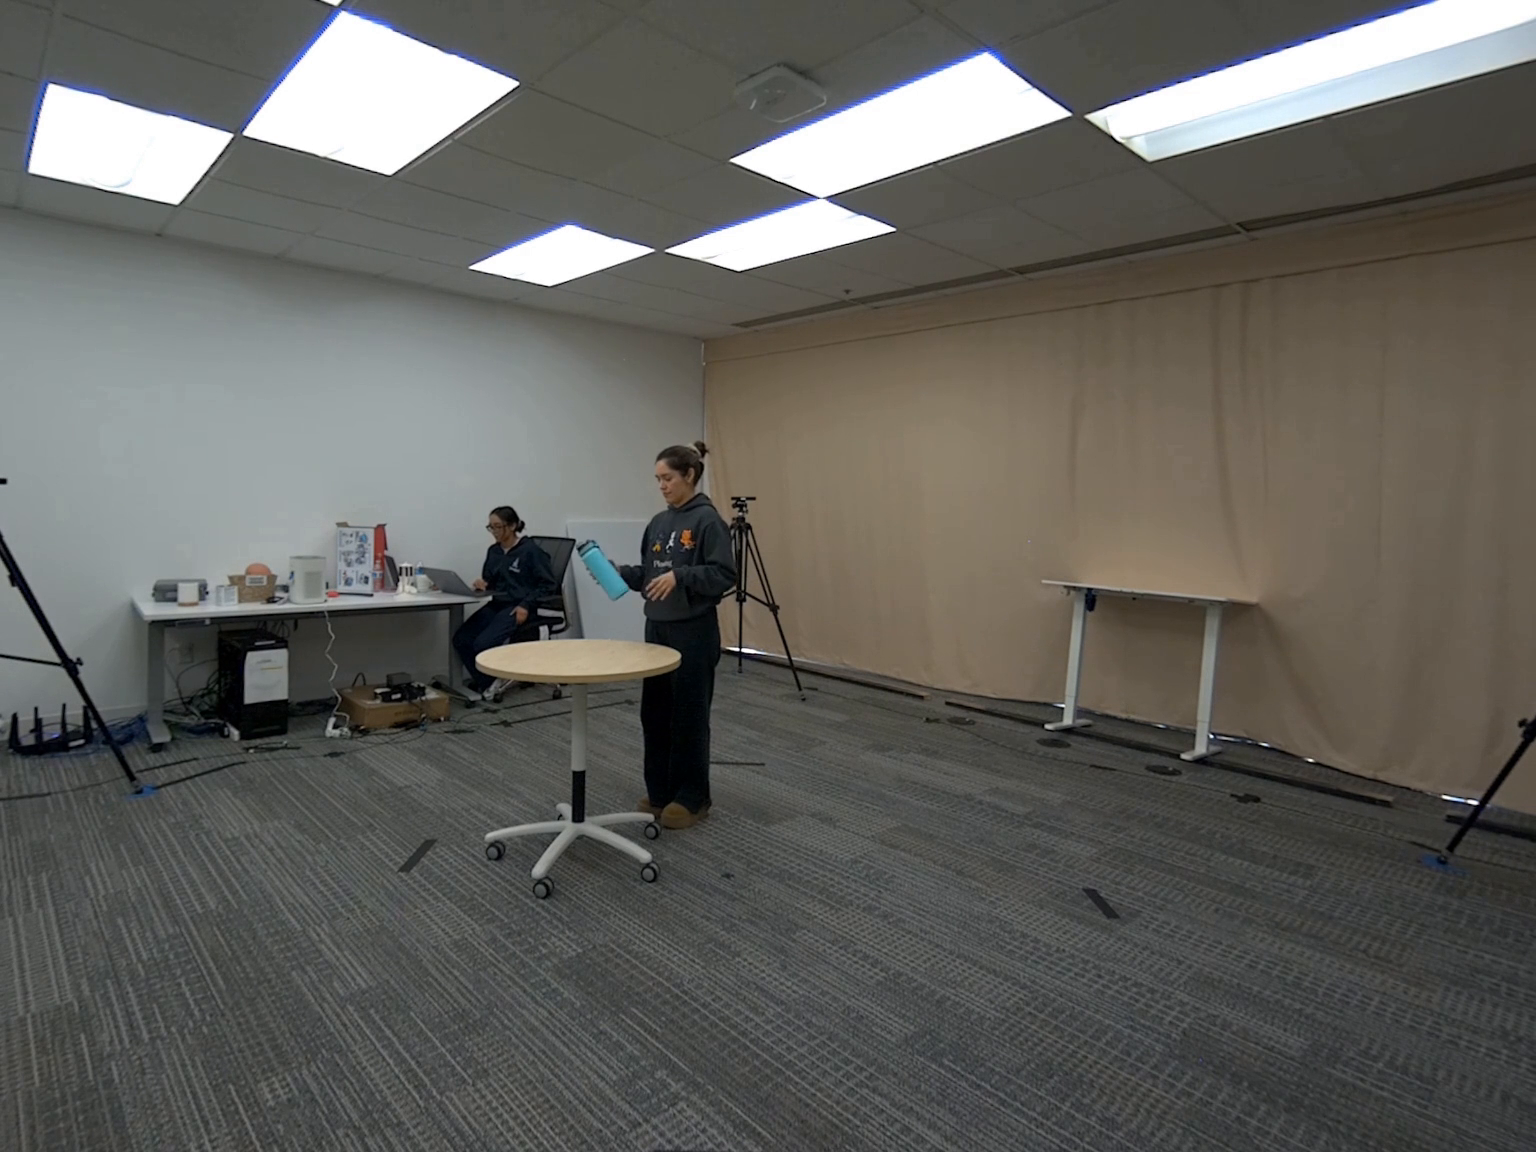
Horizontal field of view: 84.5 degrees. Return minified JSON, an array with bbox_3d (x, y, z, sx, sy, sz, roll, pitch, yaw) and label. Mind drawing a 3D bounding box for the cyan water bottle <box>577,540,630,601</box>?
[{"bbox_3d":[-0.705,-0.036,3.531,0.092,0.283,0.092,-36,0,-1],"label":"cyan water bottle"}]
